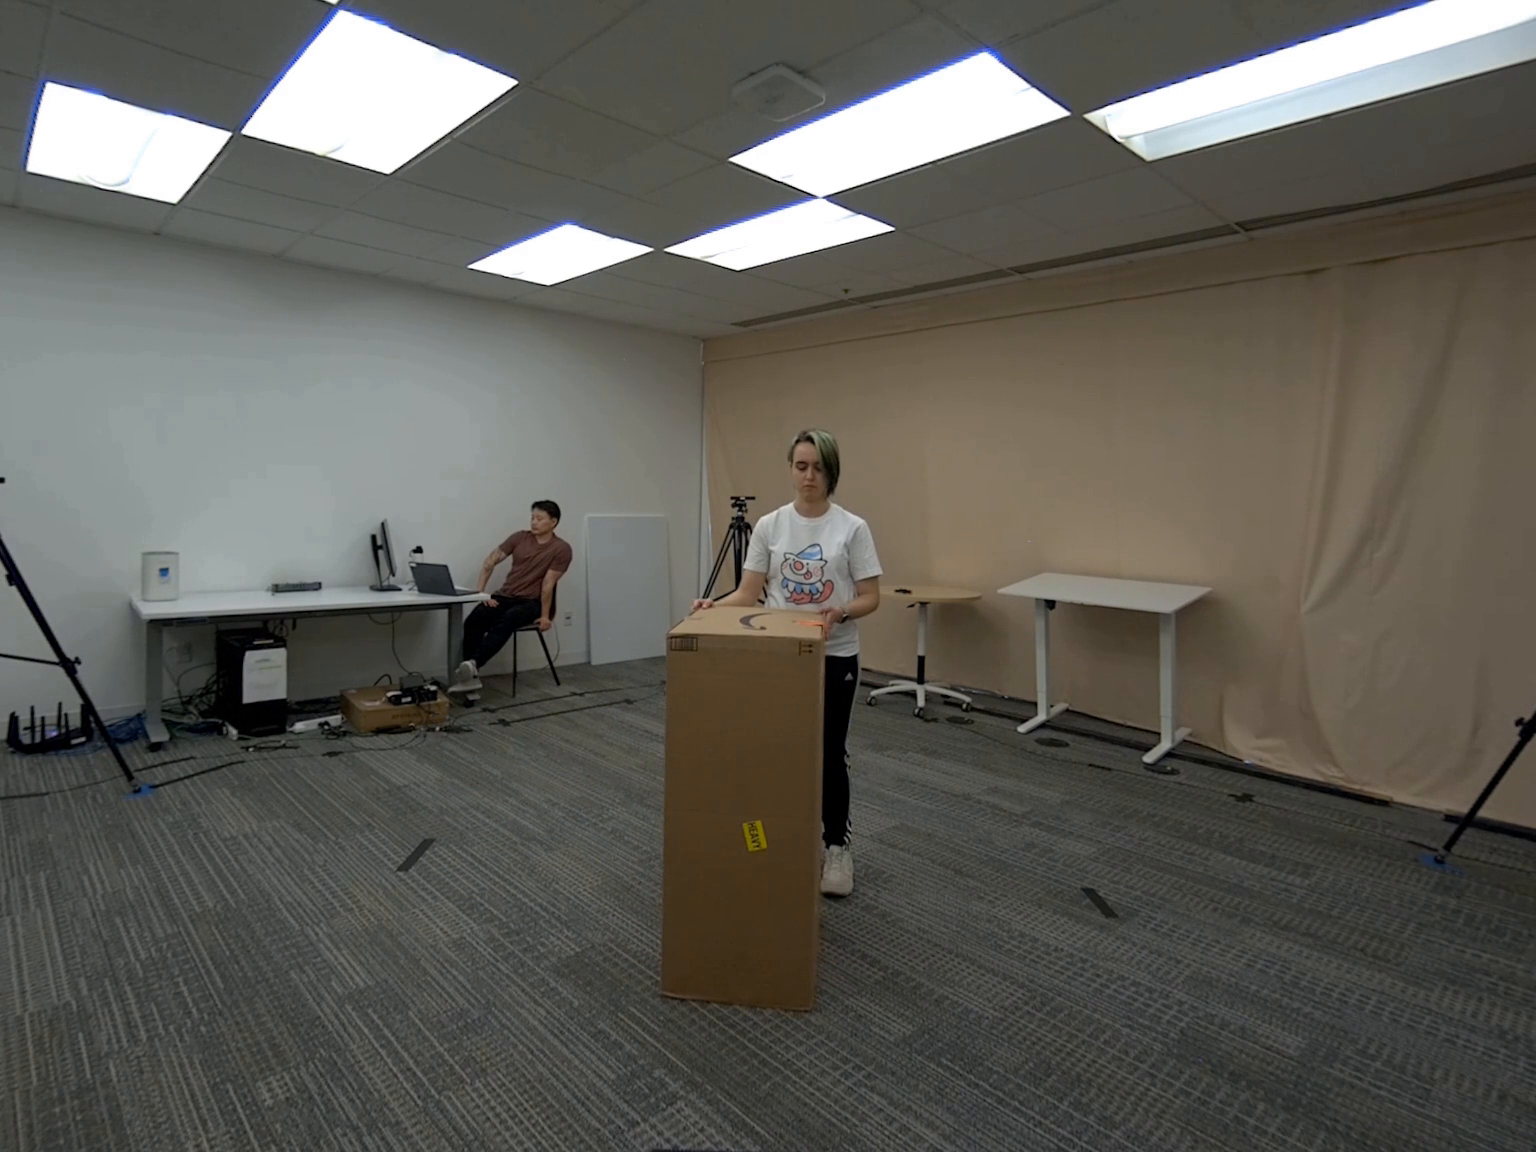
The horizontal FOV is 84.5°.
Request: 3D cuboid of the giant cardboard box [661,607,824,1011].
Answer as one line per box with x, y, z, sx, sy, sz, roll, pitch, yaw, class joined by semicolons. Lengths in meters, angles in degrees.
-0.065;0.651;2.563;0.429;1.023;0.575;1;3;6;giant cardboard box
